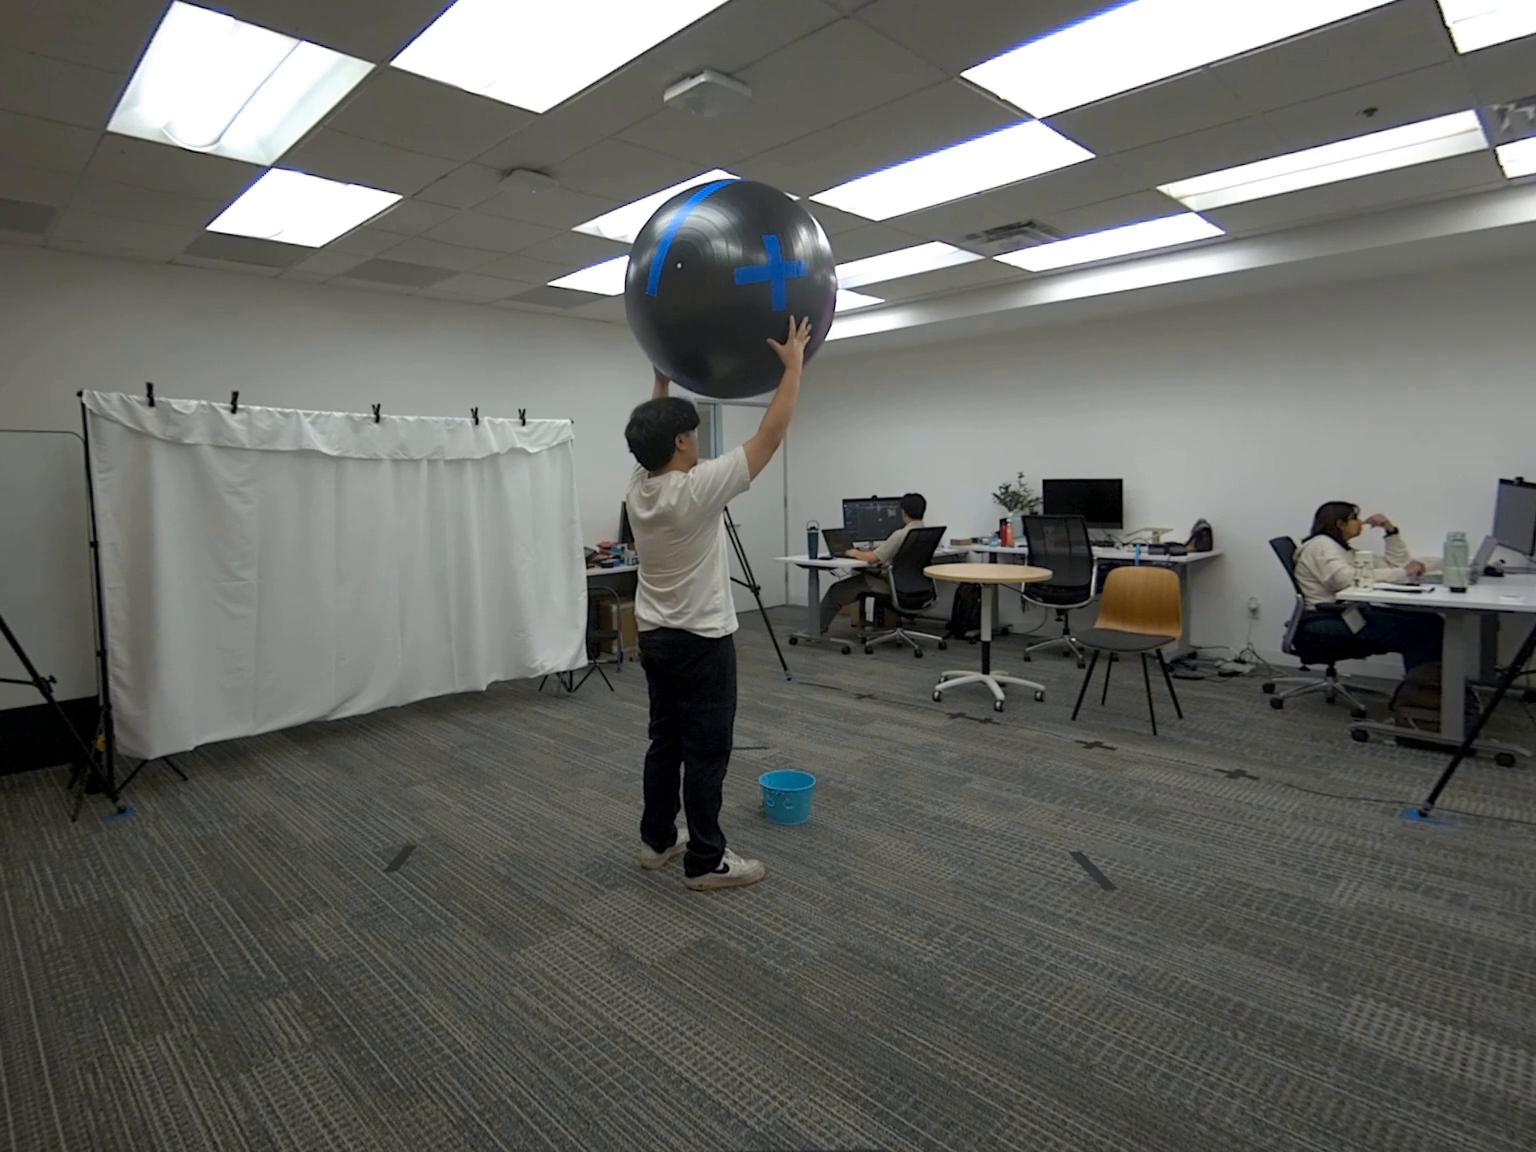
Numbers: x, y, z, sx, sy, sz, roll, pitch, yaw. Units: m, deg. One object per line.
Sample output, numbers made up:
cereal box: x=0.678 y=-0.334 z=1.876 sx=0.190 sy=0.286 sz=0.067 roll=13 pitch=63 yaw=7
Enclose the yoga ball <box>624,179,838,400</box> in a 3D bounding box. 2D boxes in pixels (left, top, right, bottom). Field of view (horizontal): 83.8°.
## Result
yoga ball: x=-0.132 y=-1.013 z=3.055 sx=0.757 sy=0.755 sz=0.762 roll=-1 pitch=5 yaw=-2
